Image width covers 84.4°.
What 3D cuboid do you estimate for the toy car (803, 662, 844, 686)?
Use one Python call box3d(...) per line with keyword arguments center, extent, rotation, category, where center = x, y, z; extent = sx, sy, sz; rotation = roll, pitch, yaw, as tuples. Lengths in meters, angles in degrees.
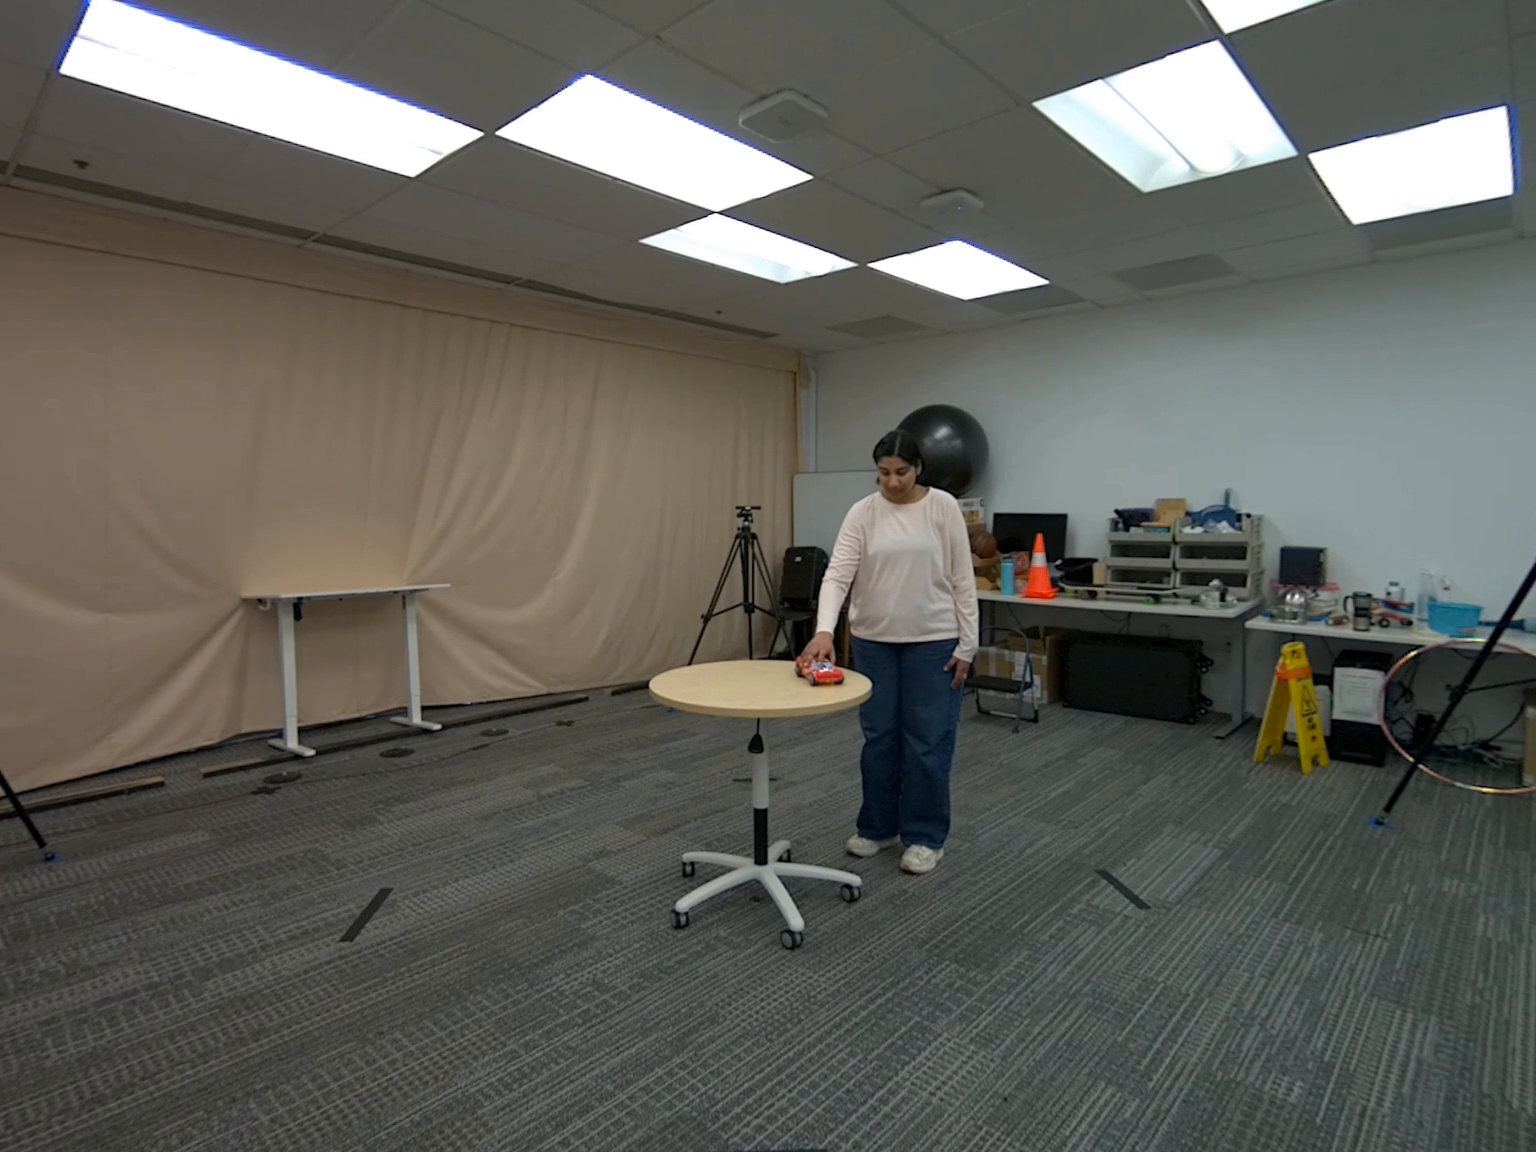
box3d(center=(0.175, 0.331, 2.948), extent=(0.128, 0.082, 0.260), rotation=(-1, 16, -13), category="toy car")
